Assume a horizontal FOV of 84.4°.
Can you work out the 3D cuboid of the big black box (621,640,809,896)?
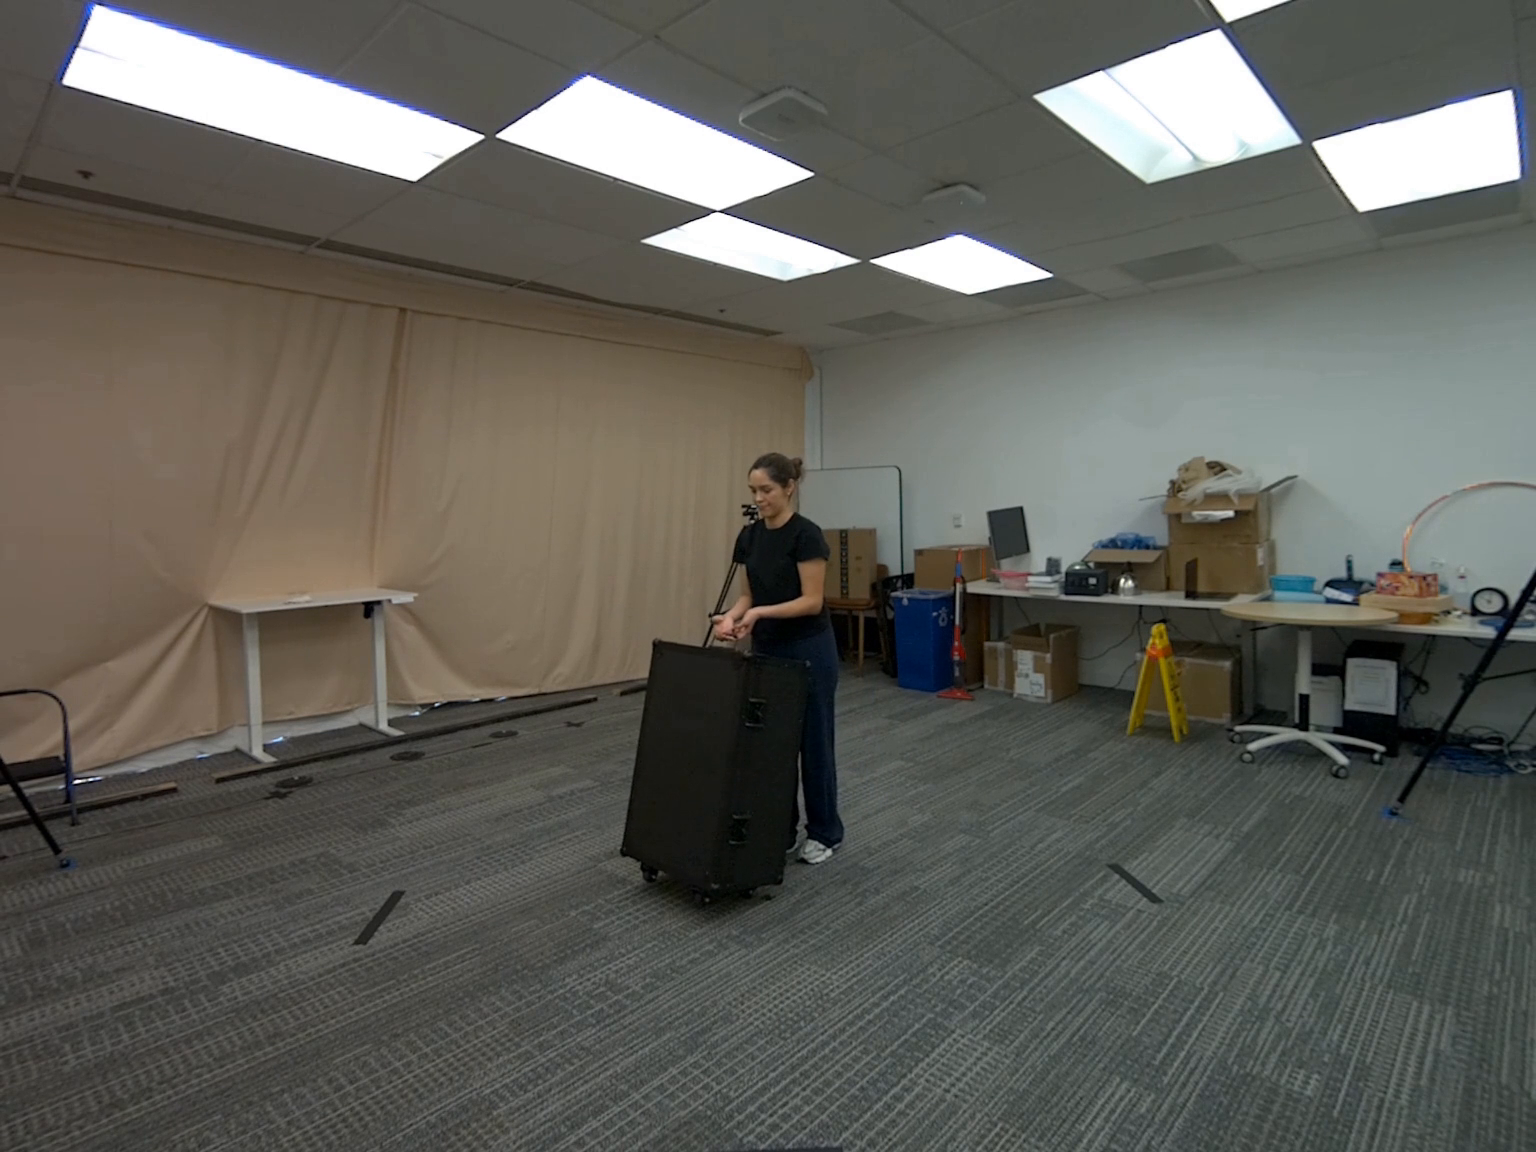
[{"bbox_3d":[-0.179,0.698,3.065,0.538,0.864,0.382,1,-10,42],"label":"big black box"}]
